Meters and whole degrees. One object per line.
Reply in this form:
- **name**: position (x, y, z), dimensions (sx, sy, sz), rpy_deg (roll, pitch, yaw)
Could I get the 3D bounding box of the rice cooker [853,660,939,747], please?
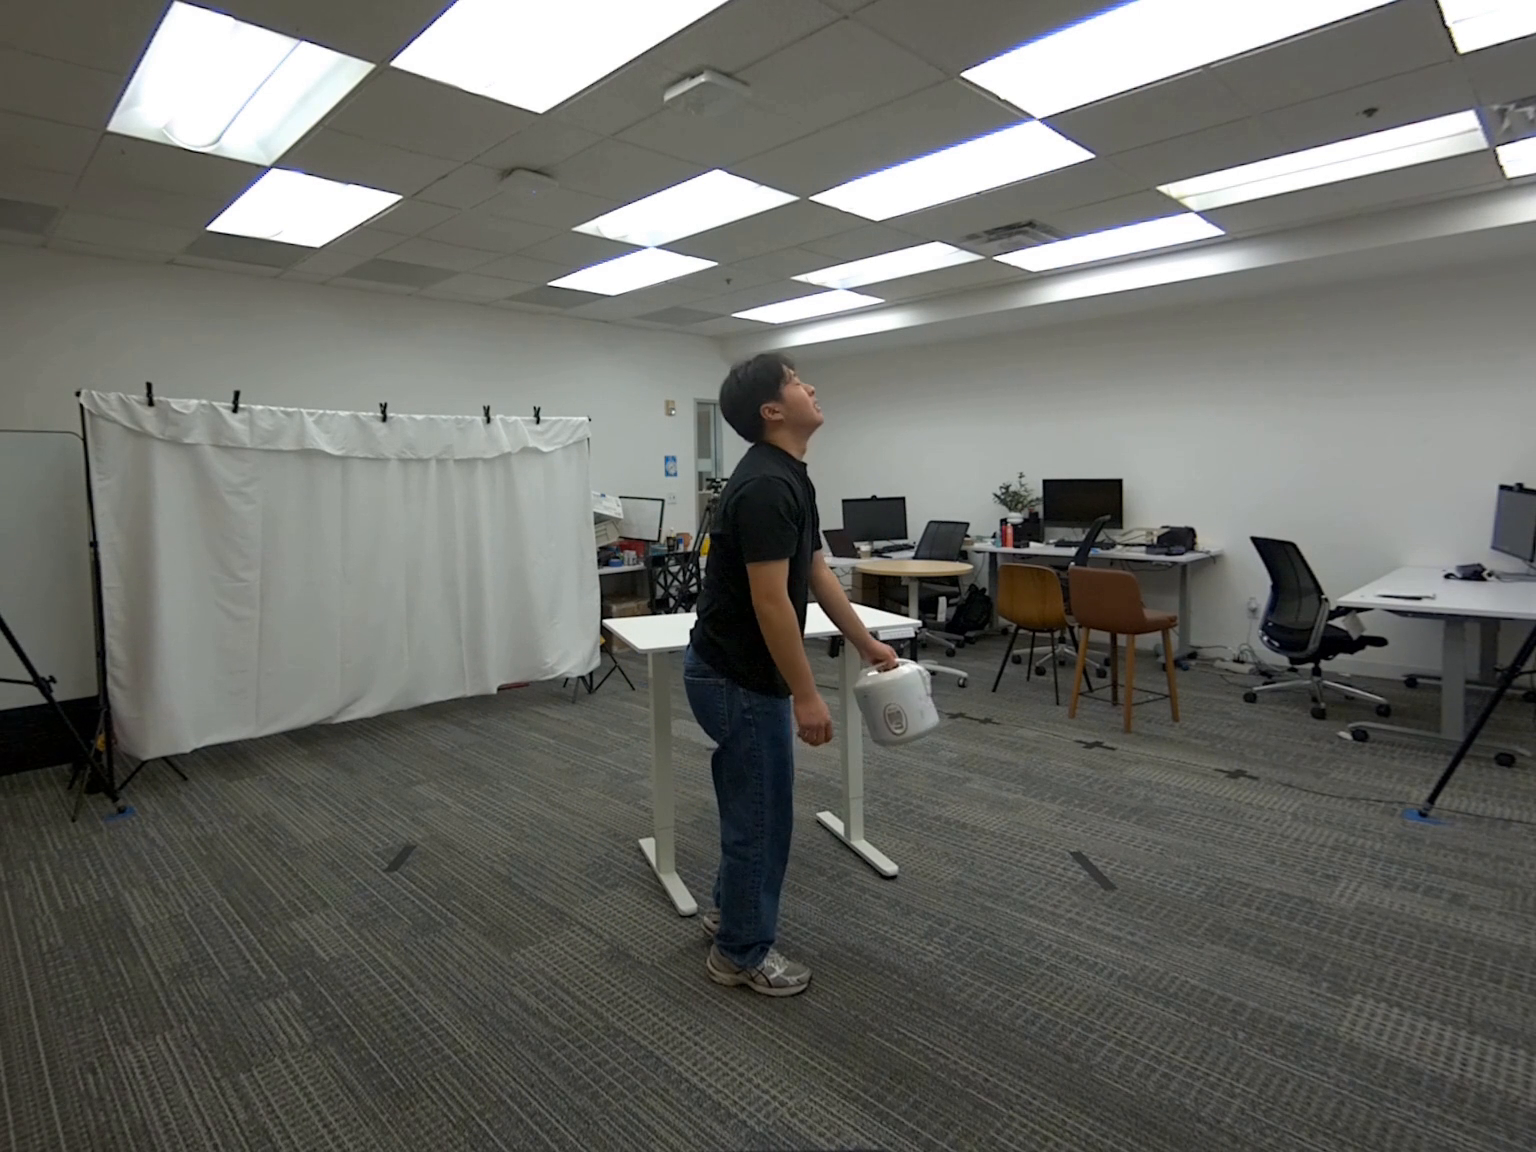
- **rice cooker**: position (0.369, 0.375, 2.498), dimensions (0.222, 0.234, 0.214), rpy_deg (-20, -3, 15)
